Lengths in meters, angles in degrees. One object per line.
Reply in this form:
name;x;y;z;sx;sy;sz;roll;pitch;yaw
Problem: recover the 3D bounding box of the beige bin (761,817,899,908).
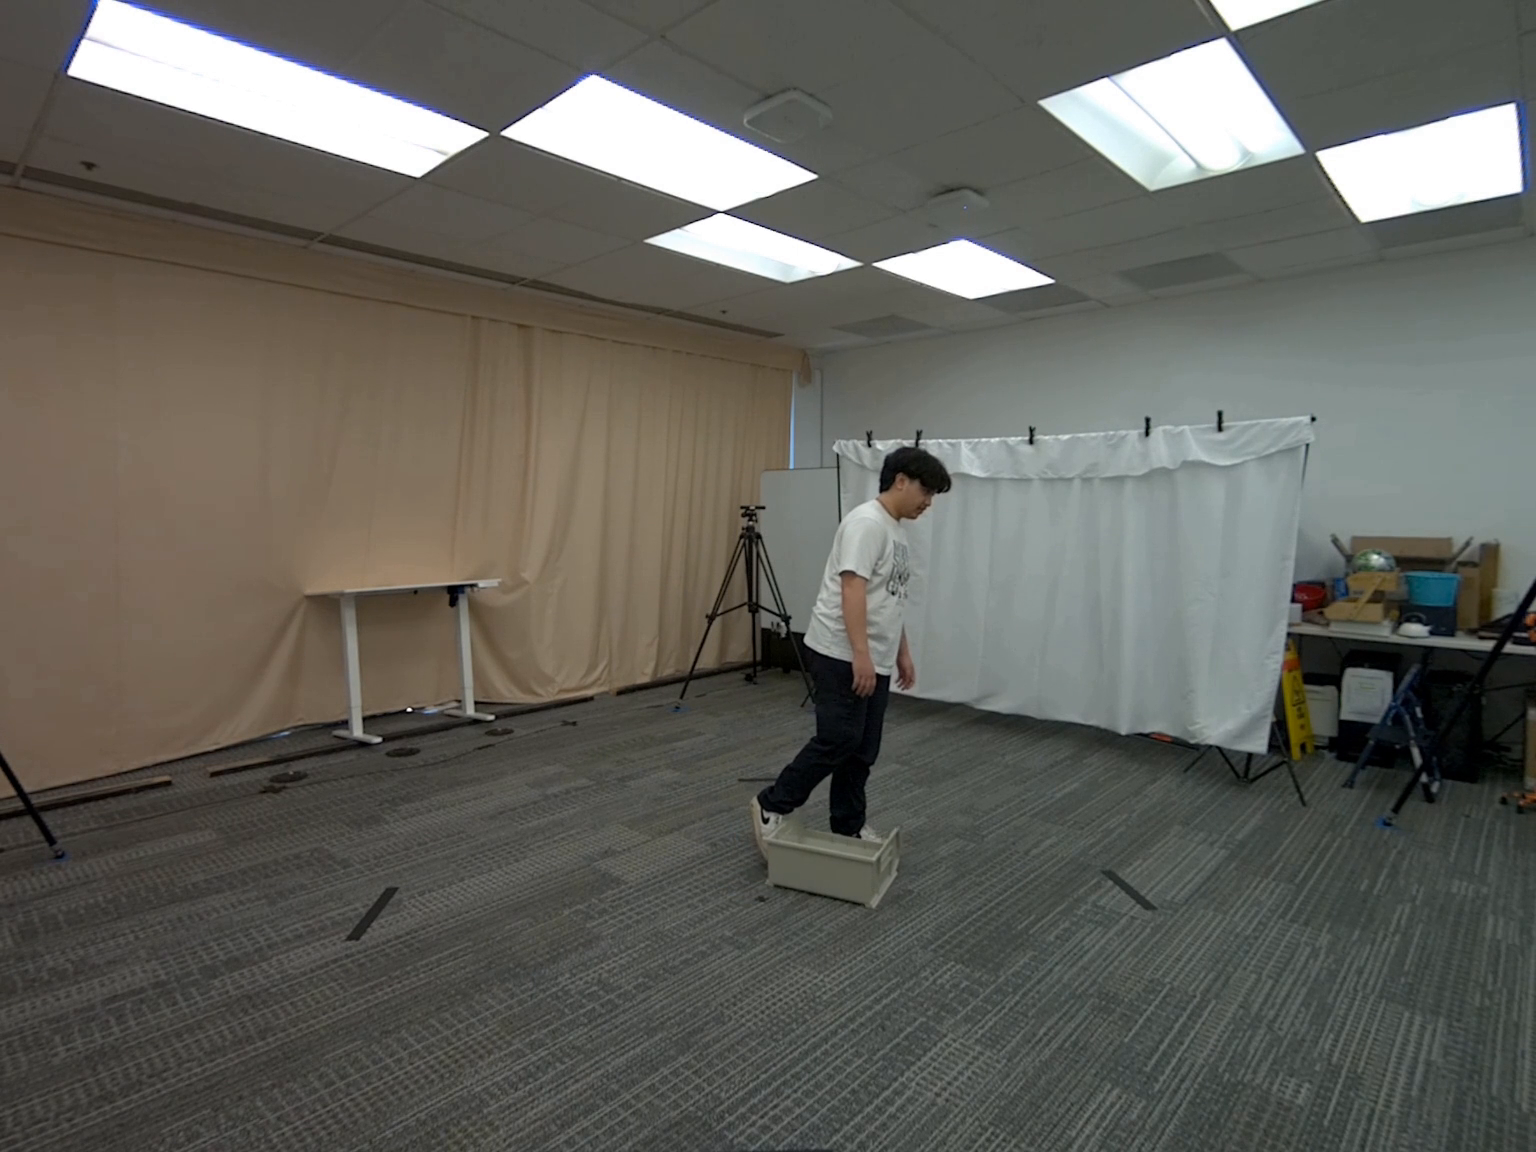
beige bin;0.252;1.037;3.148;0.433;0.188;0.369;3;7;25
